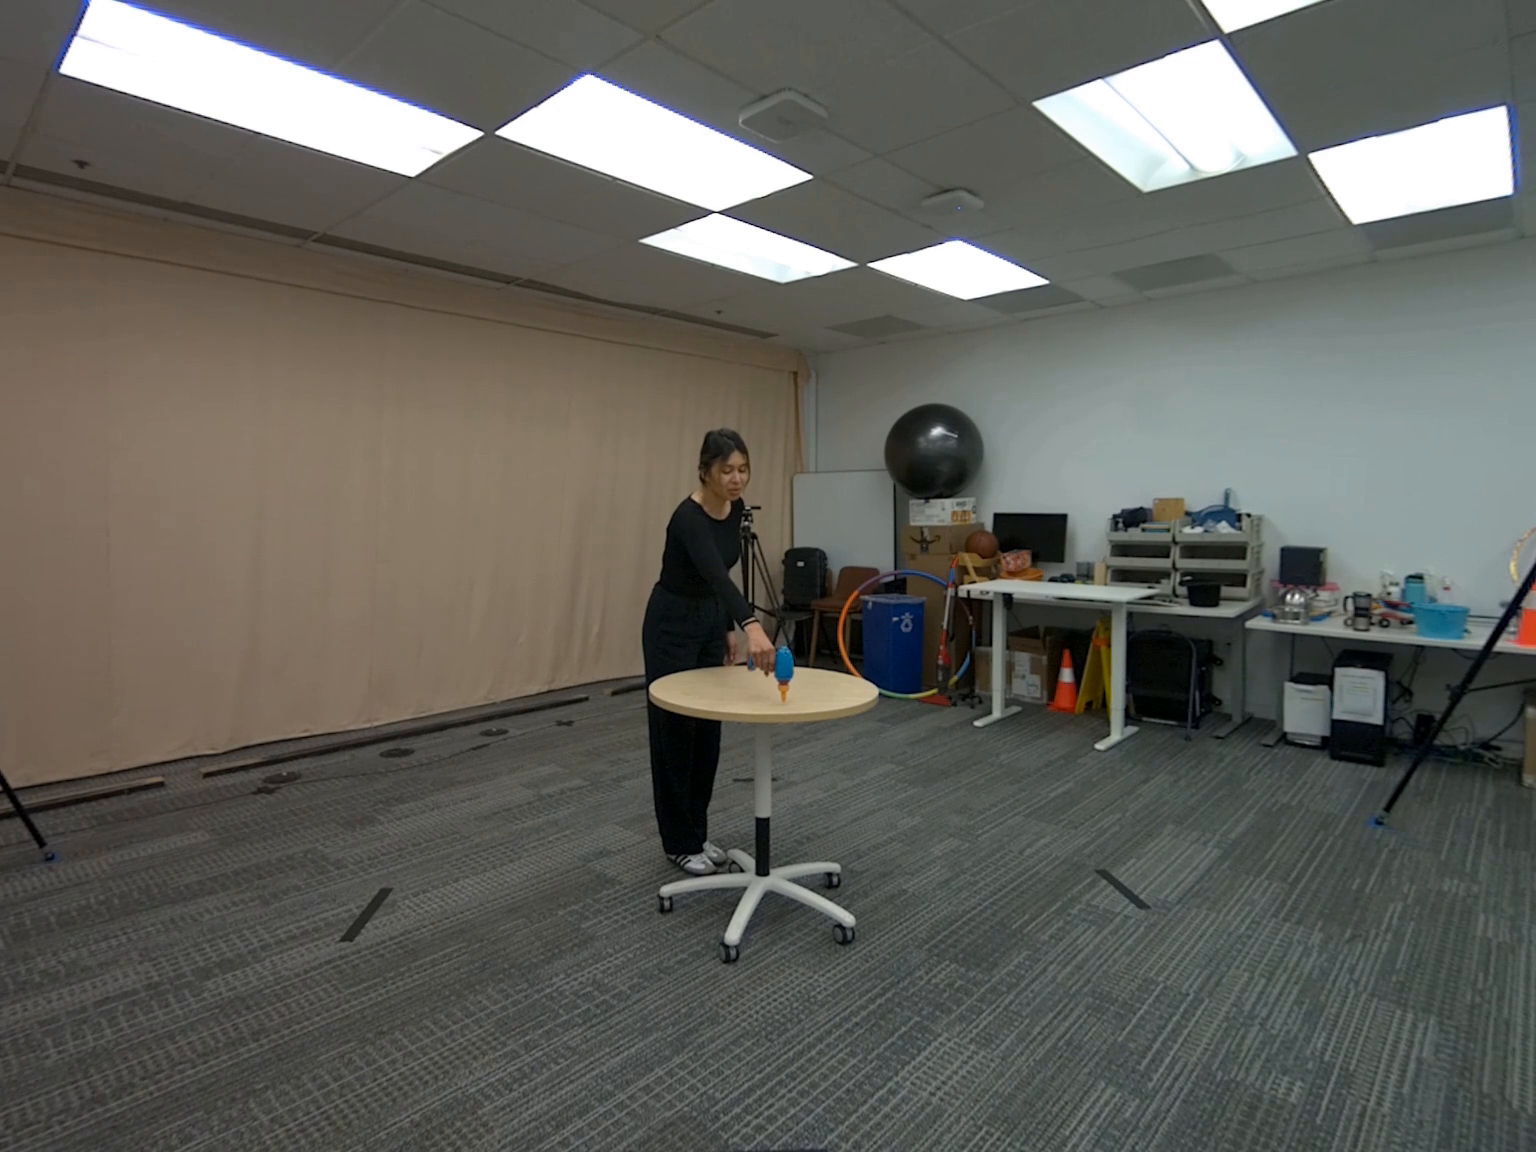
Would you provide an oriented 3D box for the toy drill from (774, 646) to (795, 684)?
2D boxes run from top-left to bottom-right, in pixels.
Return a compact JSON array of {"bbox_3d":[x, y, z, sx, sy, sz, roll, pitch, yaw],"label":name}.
[{"bbox_3d":[0.017,0.297,2.561,0.150,0.169,0.060,2,8,24],"label":"toy drill"}]
